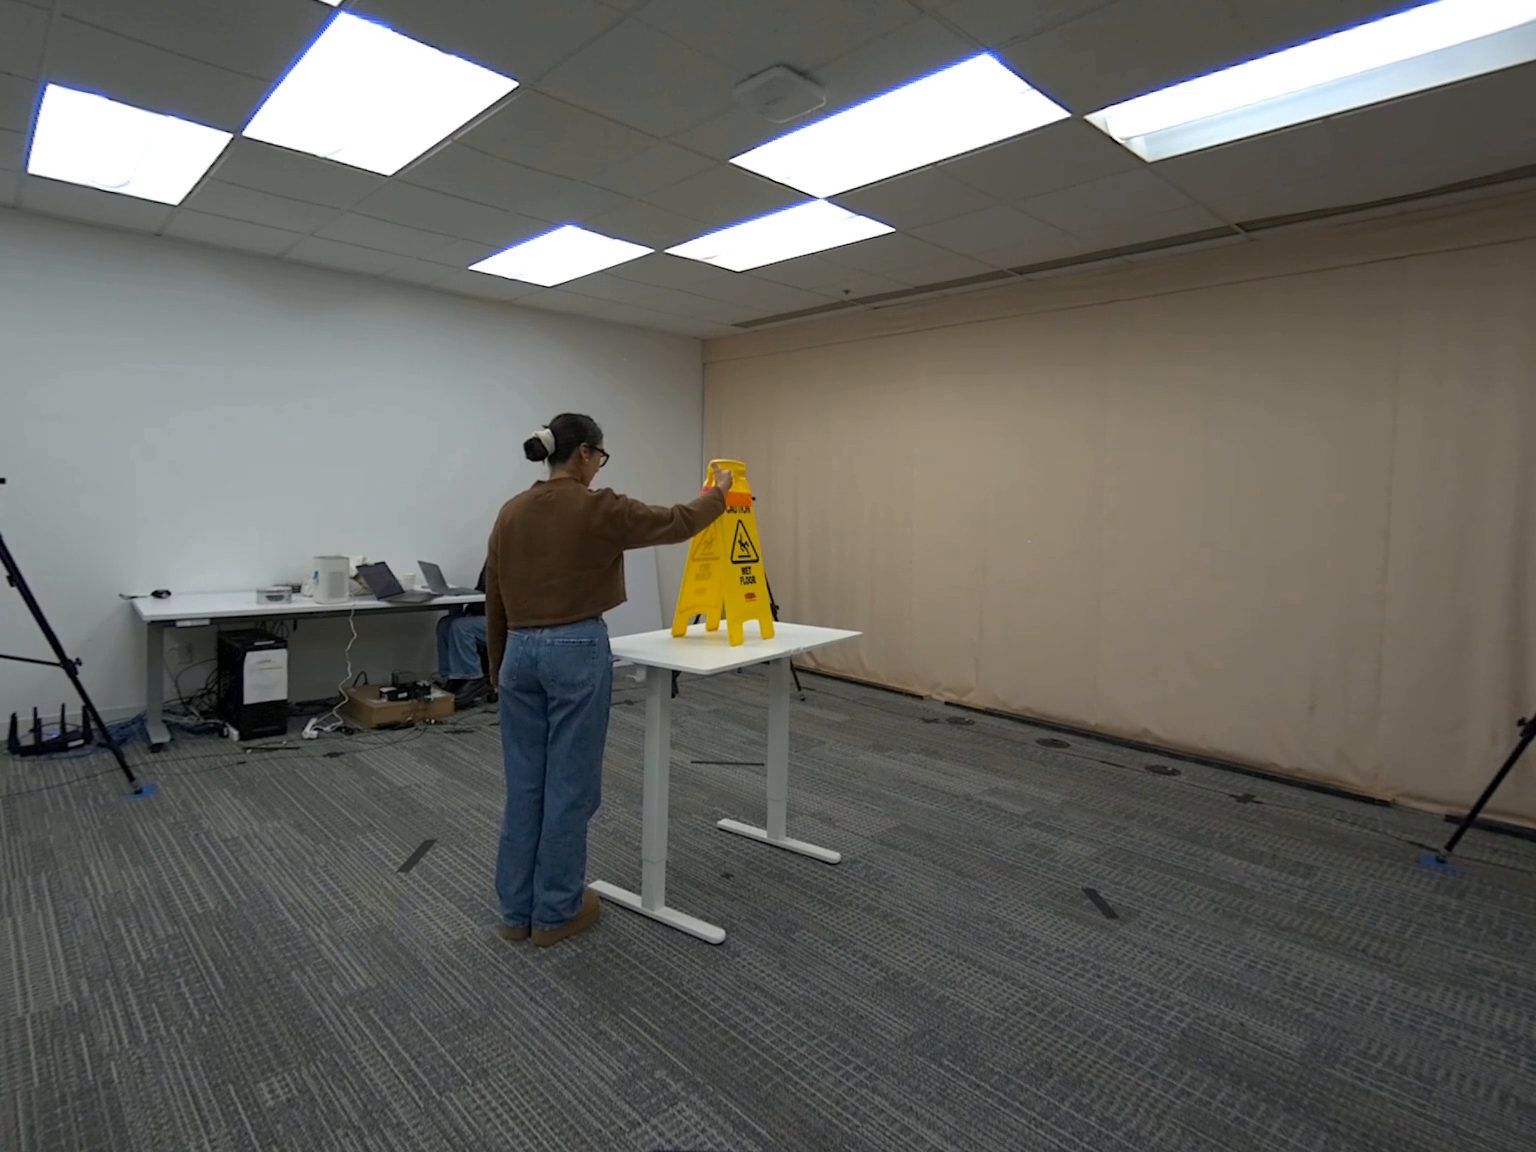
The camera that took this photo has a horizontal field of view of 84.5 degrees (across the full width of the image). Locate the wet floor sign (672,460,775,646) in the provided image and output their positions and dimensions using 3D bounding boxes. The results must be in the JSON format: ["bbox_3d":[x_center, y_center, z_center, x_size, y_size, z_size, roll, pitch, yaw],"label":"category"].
[{"bbox_3d":[-0.158,-0.094,3.074,0.296,0.644,0.276,4,4,33],"label":"wet floor sign"}]
